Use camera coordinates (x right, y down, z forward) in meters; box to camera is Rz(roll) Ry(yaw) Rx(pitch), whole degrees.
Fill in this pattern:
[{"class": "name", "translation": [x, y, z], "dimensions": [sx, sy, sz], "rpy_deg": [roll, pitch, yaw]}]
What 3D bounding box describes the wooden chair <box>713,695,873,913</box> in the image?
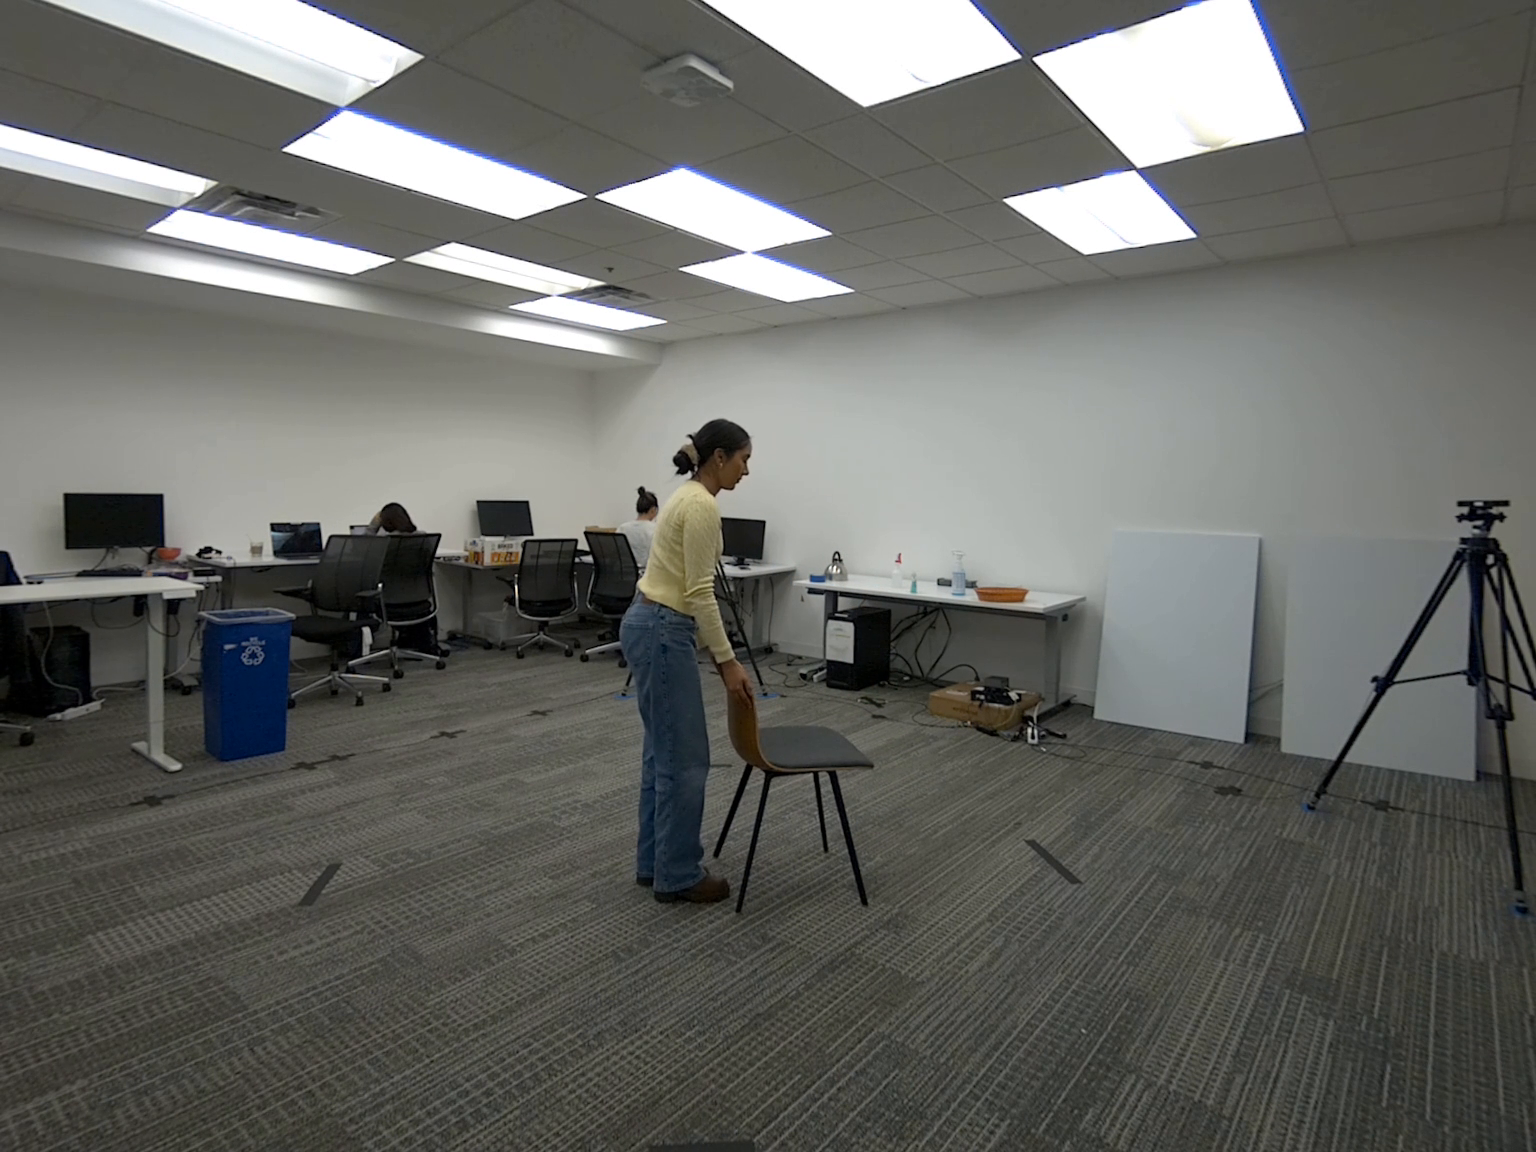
[{"class": "wooden chair", "translation": [0.082, 0.664, 3.023], "dimensions": [0.517, 0.875, 0.485], "rpy_deg": [-3, 3, -12]}]
